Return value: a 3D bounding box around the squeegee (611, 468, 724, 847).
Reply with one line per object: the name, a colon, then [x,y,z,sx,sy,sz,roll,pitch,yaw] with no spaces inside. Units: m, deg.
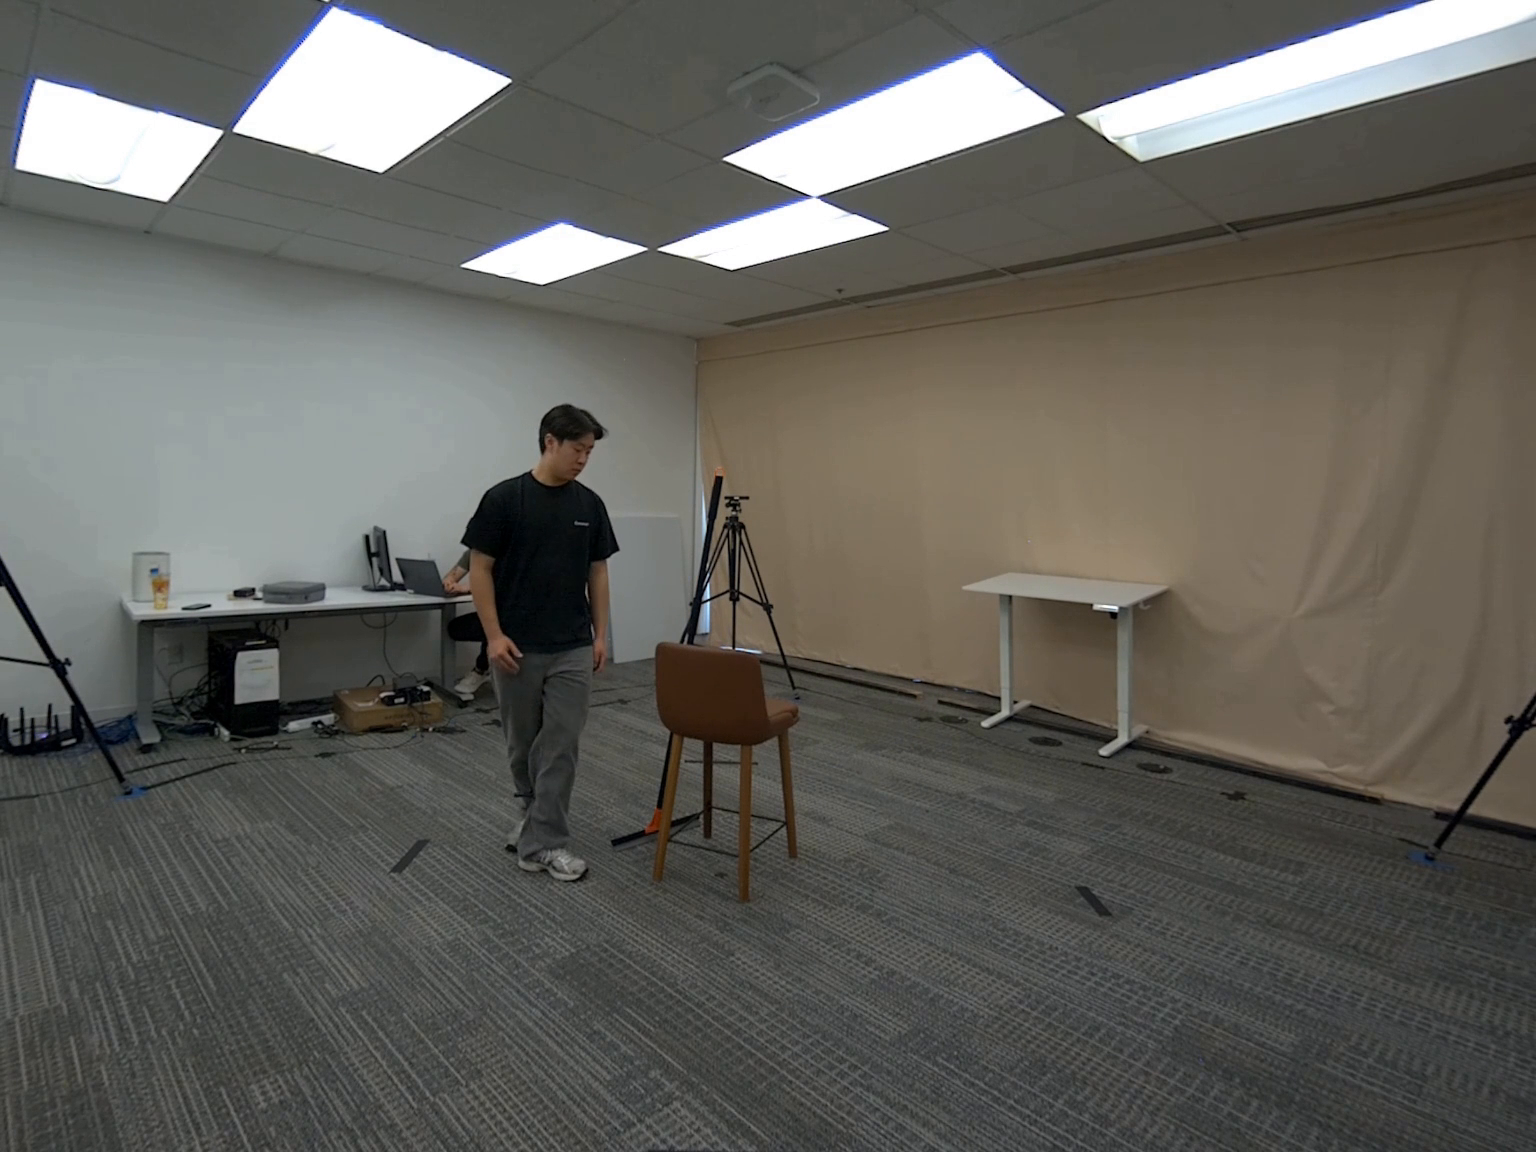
squeegee: [-0.315,0.328,3.267,0.428,1.524,0.054,-1,18,-35]
